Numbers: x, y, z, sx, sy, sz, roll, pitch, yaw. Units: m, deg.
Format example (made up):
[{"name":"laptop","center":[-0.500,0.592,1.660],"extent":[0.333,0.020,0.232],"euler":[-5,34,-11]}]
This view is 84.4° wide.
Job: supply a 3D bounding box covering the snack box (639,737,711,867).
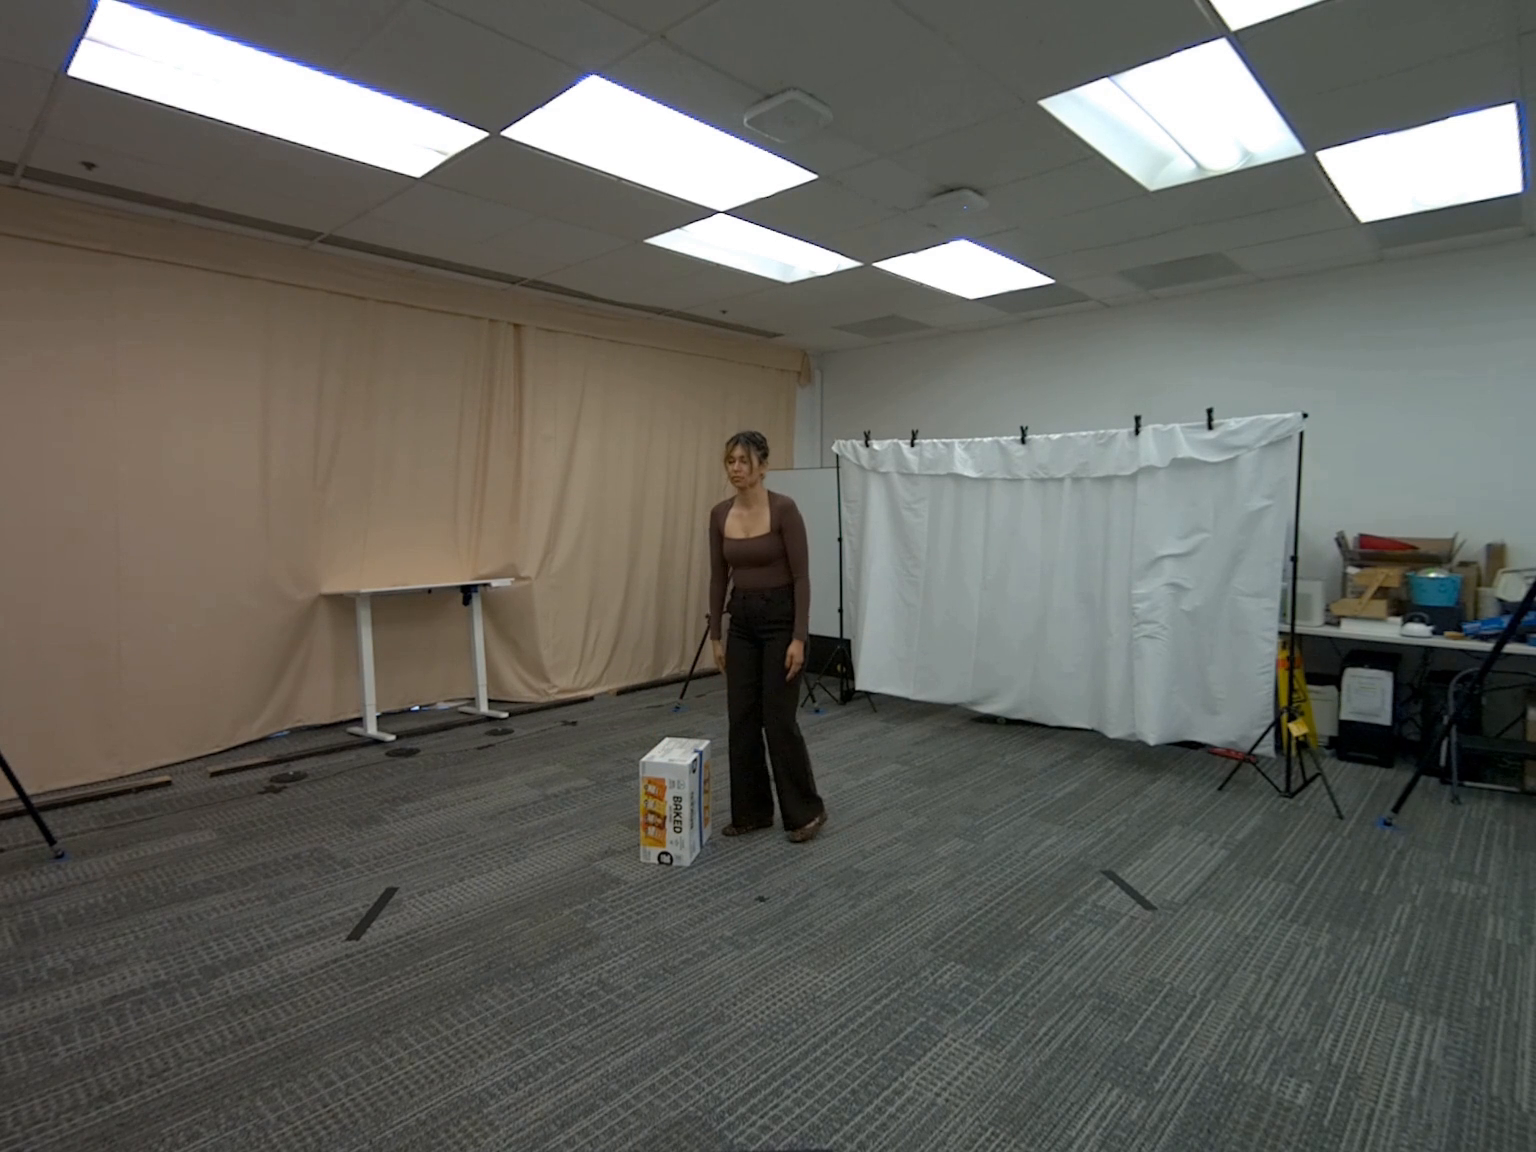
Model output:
[{"name":"snack box","center":[-0.372,0.910,3.429],"extent":[0.209,0.404,0.336],"euler":[0,3,12]}]
